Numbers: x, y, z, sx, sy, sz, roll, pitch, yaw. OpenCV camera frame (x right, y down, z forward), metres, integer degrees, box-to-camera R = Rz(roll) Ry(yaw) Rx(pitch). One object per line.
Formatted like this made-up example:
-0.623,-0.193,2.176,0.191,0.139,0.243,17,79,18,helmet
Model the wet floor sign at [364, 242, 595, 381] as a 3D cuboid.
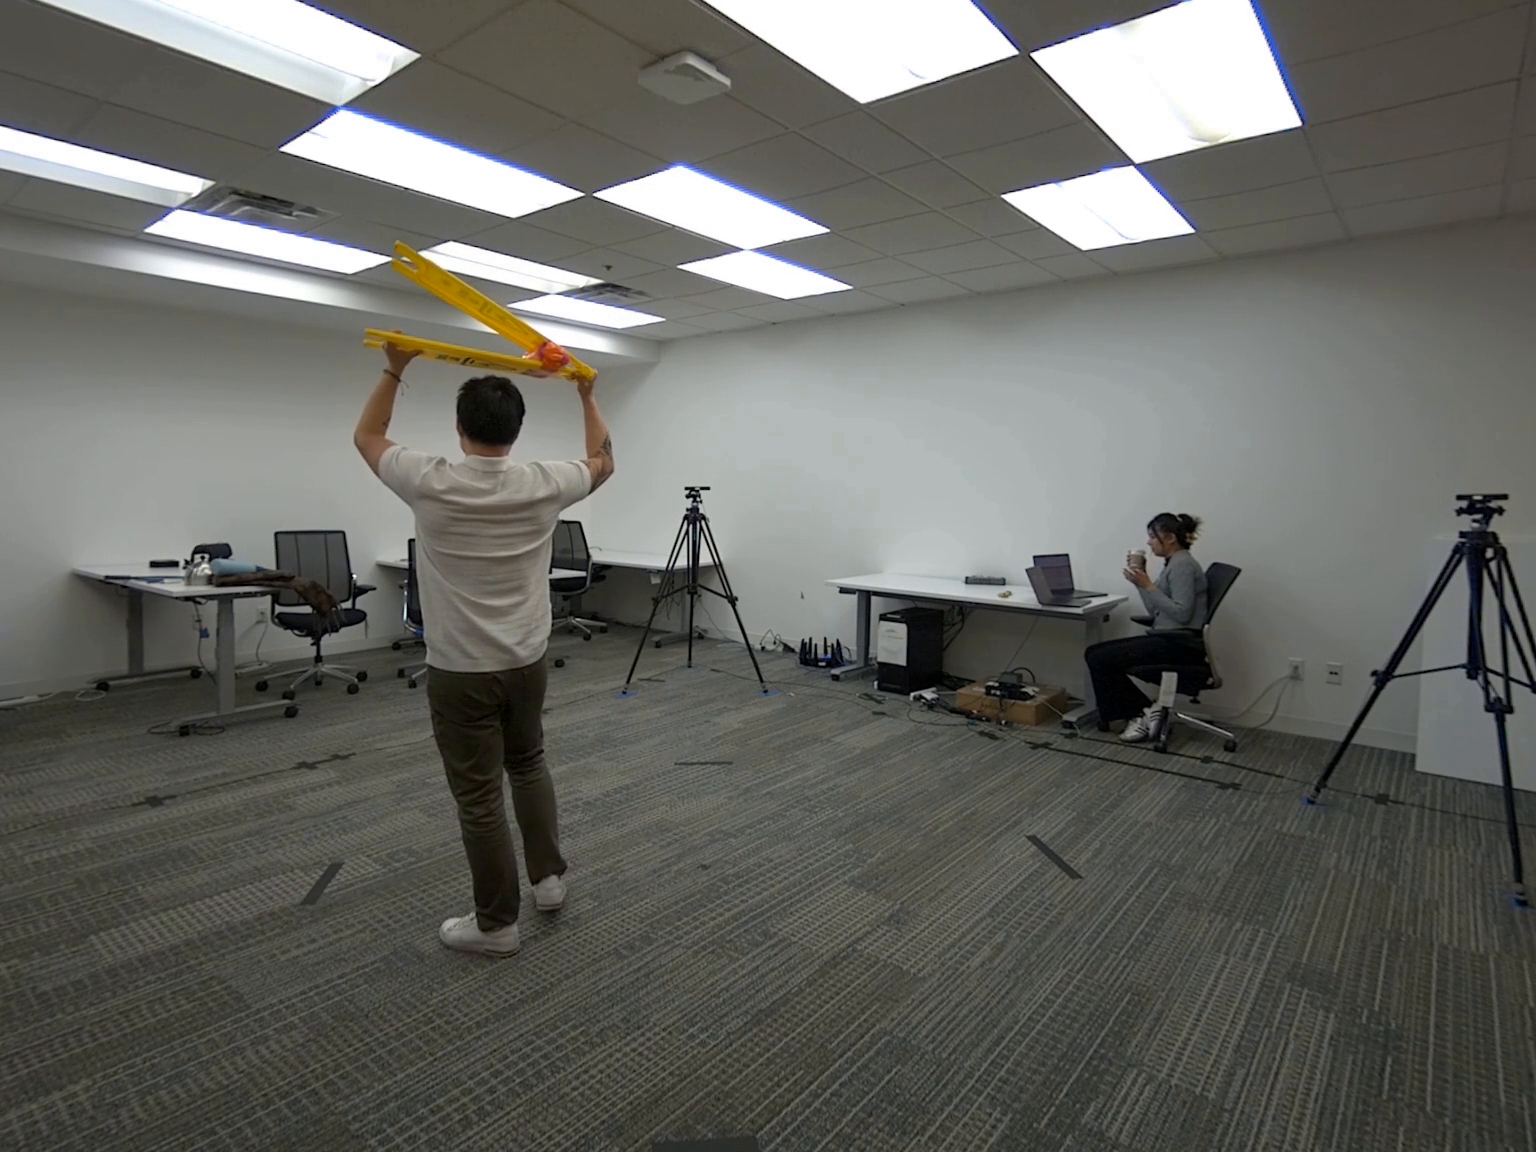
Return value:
-0.863,-0.723,2.574,0.629,0.290,0.289,17,-3,-23,wet floor sign
